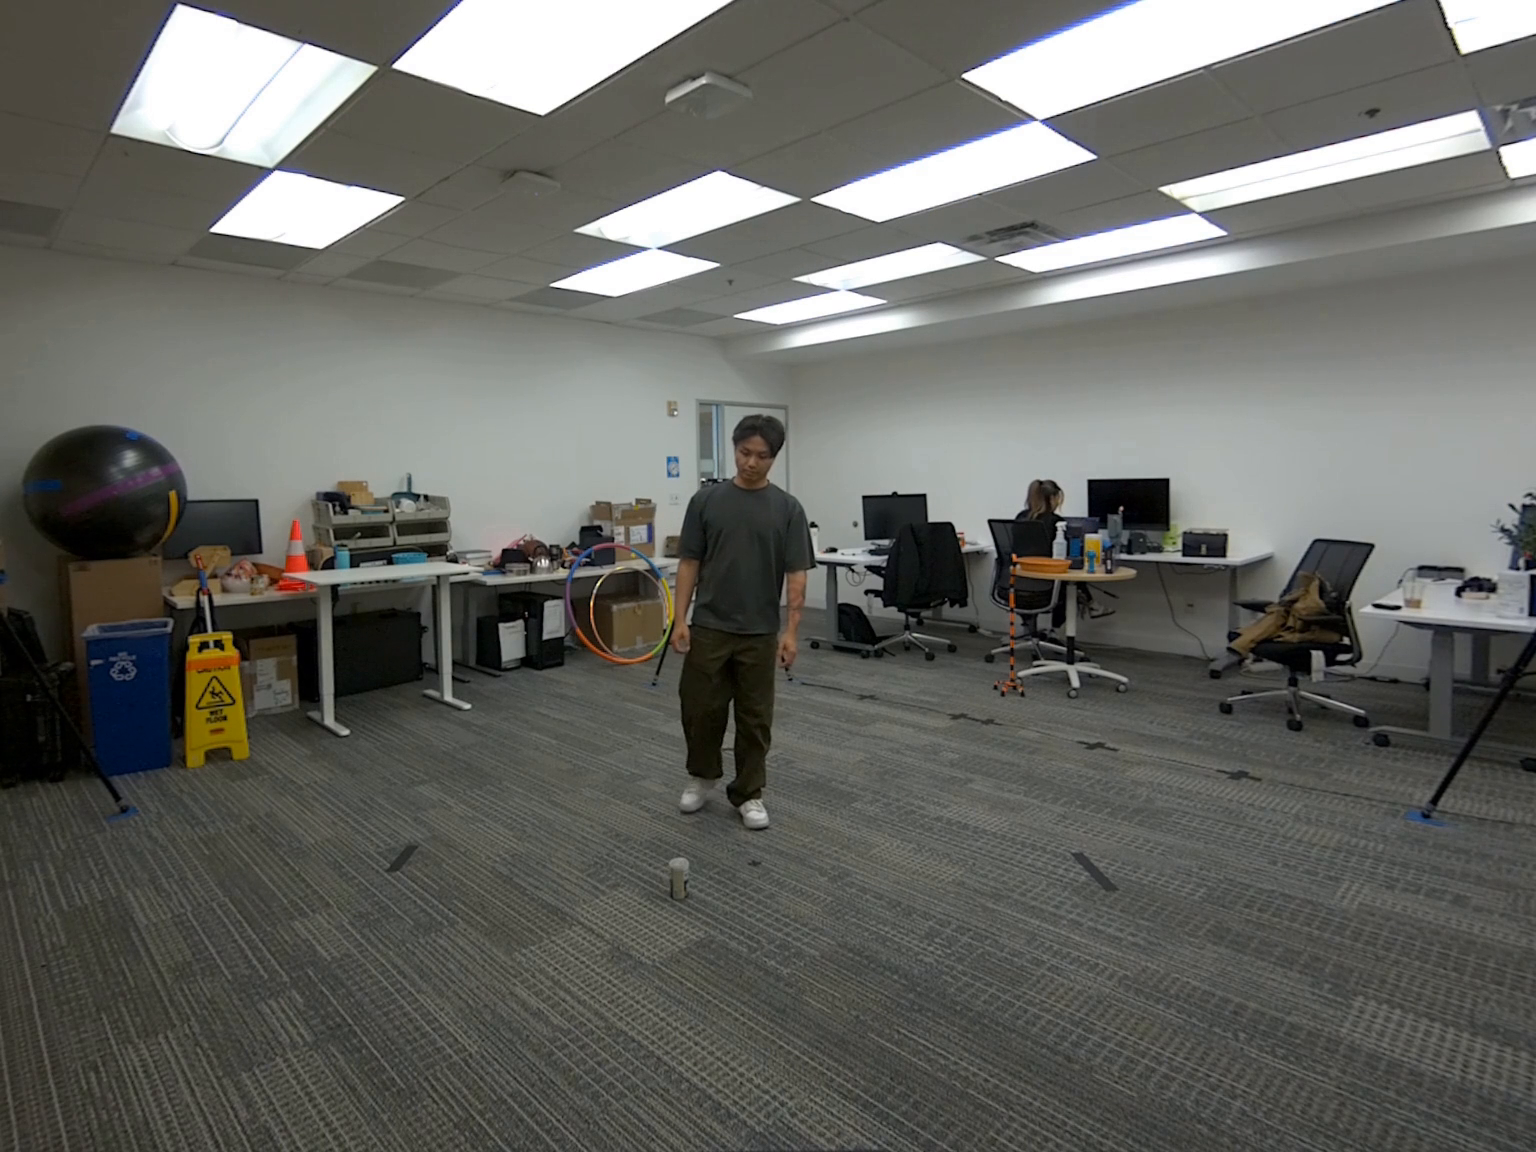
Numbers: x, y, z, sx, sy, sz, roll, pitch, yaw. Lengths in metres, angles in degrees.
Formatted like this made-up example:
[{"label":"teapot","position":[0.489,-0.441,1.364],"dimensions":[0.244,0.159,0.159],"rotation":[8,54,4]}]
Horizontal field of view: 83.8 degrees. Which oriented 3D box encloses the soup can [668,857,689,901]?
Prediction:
[{"label":"soup can","position":[-0.297,1.022,2.871],"dimensions":[0.067,0.121,0.067],"rotation":[0,3,-2]}]
